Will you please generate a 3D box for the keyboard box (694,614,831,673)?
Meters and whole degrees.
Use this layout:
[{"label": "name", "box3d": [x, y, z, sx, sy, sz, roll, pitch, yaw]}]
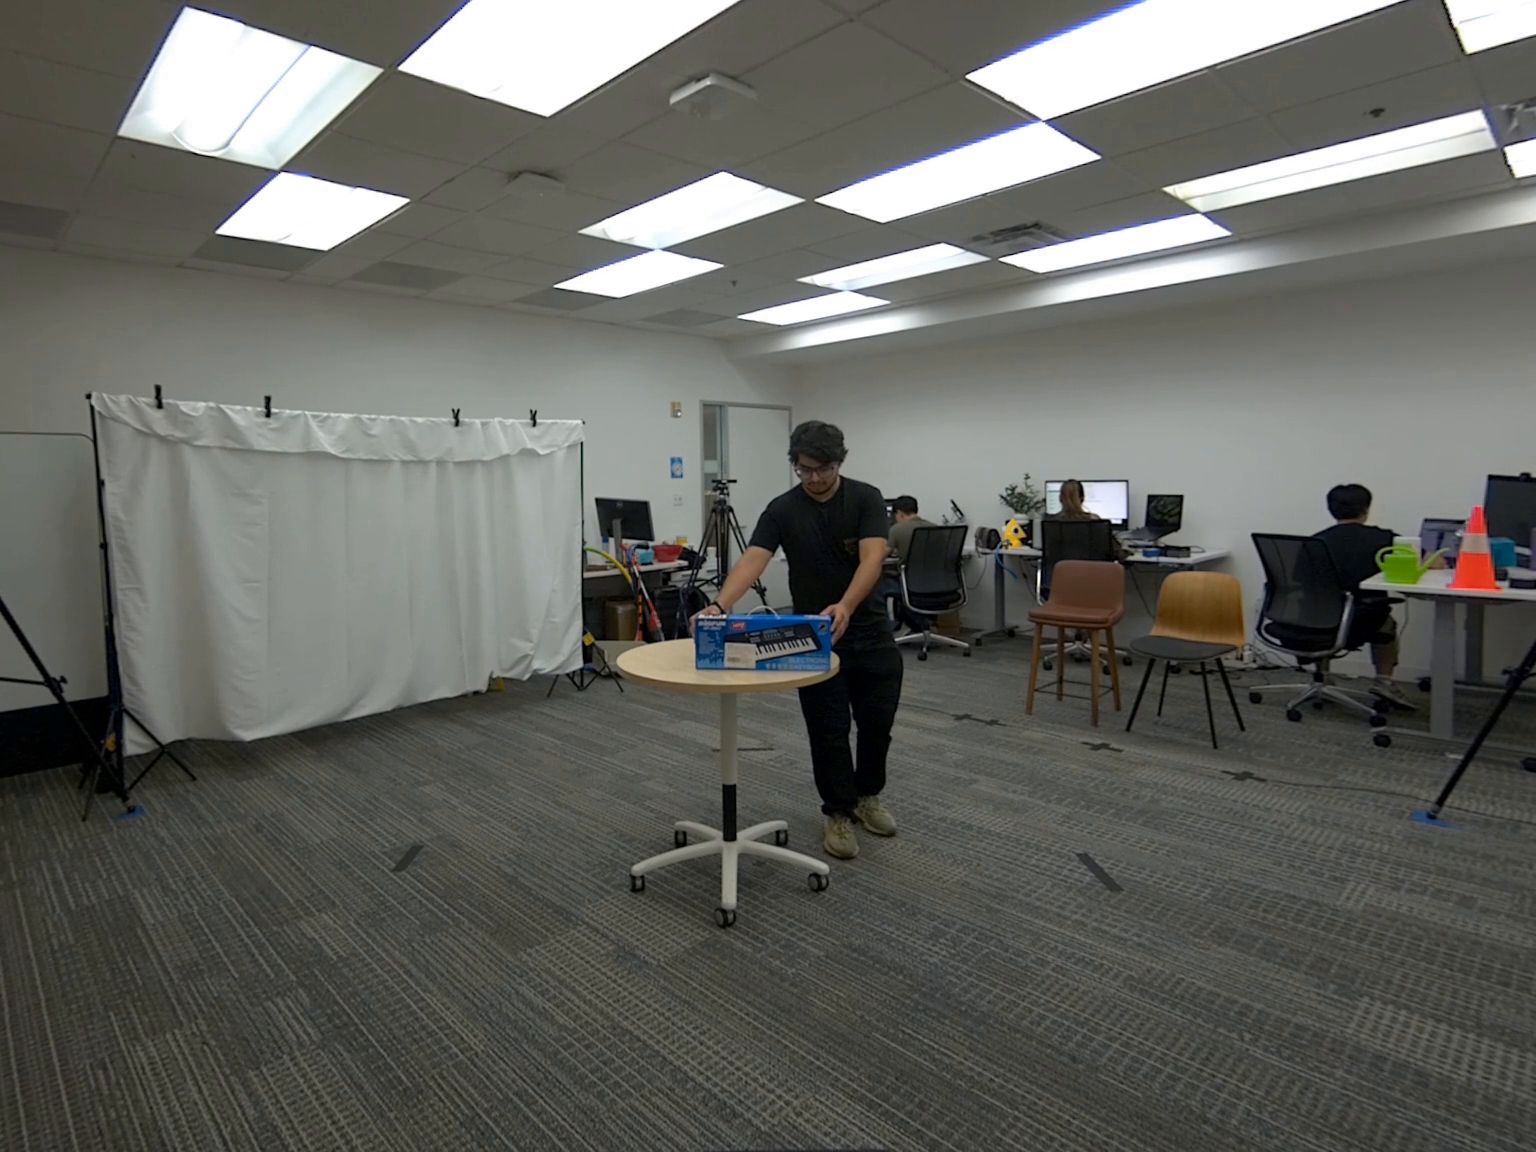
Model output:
[{"label": "keyboard box", "box3d": [-0.015, 0.211, 2.775, 0.439, 0.175, 0.059, 0, 8, 6]}]
